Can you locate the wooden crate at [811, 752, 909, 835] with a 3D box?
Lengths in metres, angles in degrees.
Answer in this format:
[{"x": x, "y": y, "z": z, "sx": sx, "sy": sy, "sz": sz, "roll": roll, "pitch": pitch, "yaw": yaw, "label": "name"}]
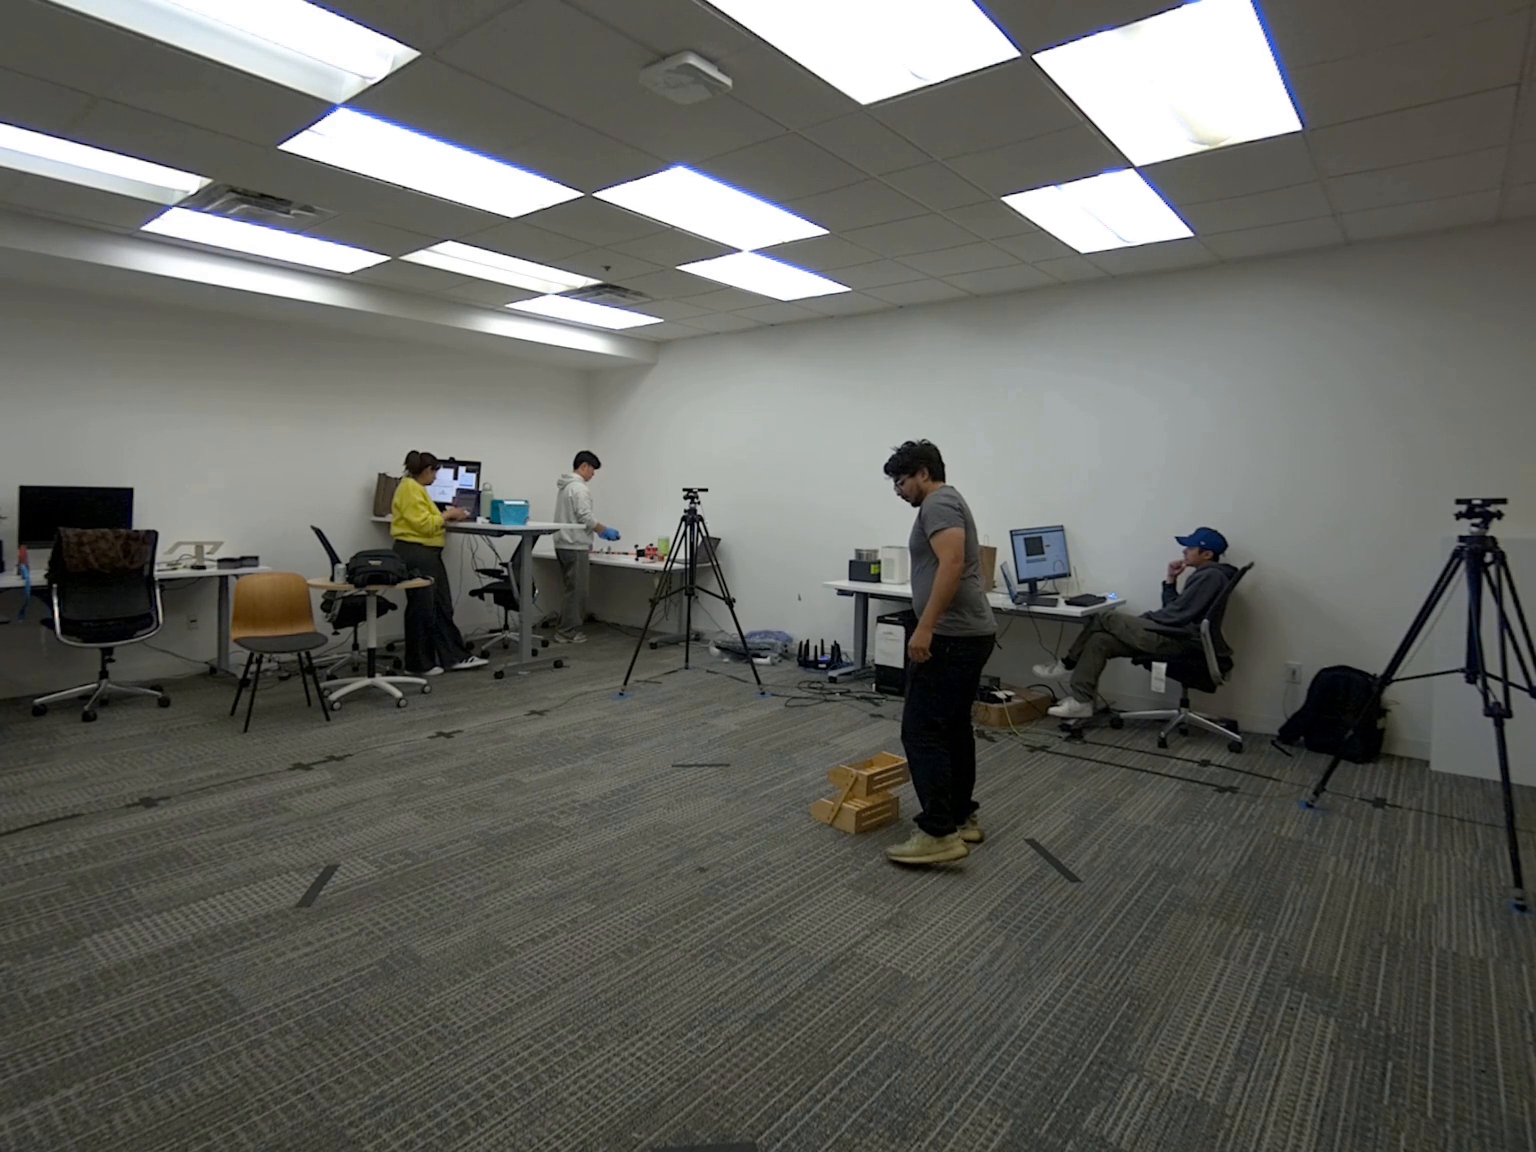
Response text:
[{"x": 0.384, "y": 0.896, "z": 3.631, "sx": 0.315, "sy": 0.272, "sz": 0.312, "roll": -3, "pitch": 7, "yaw": -44, "label": "wooden crate"}]
